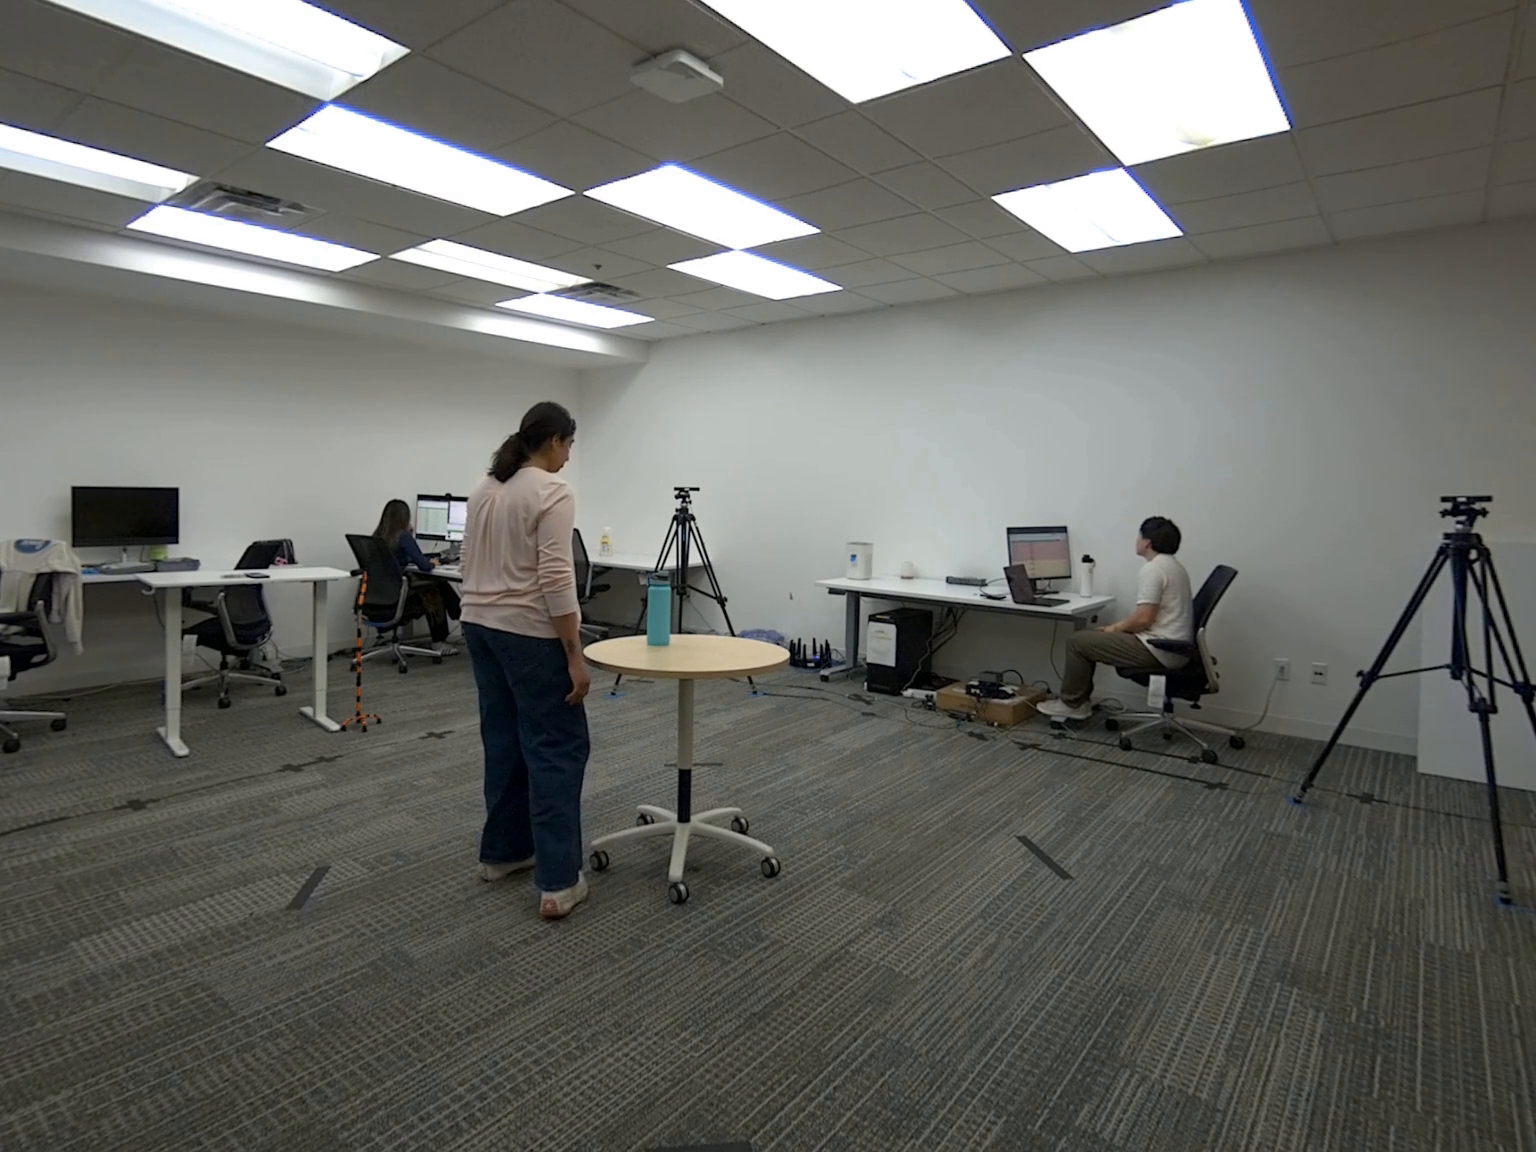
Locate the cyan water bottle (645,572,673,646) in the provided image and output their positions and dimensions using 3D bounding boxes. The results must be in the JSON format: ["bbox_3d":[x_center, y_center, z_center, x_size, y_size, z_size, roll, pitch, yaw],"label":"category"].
[{"bbox_3d":[-0.437,0.122,3.301,0.092,0.282,0.093,1,3,-2],"label":"cyan water bottle"}]
